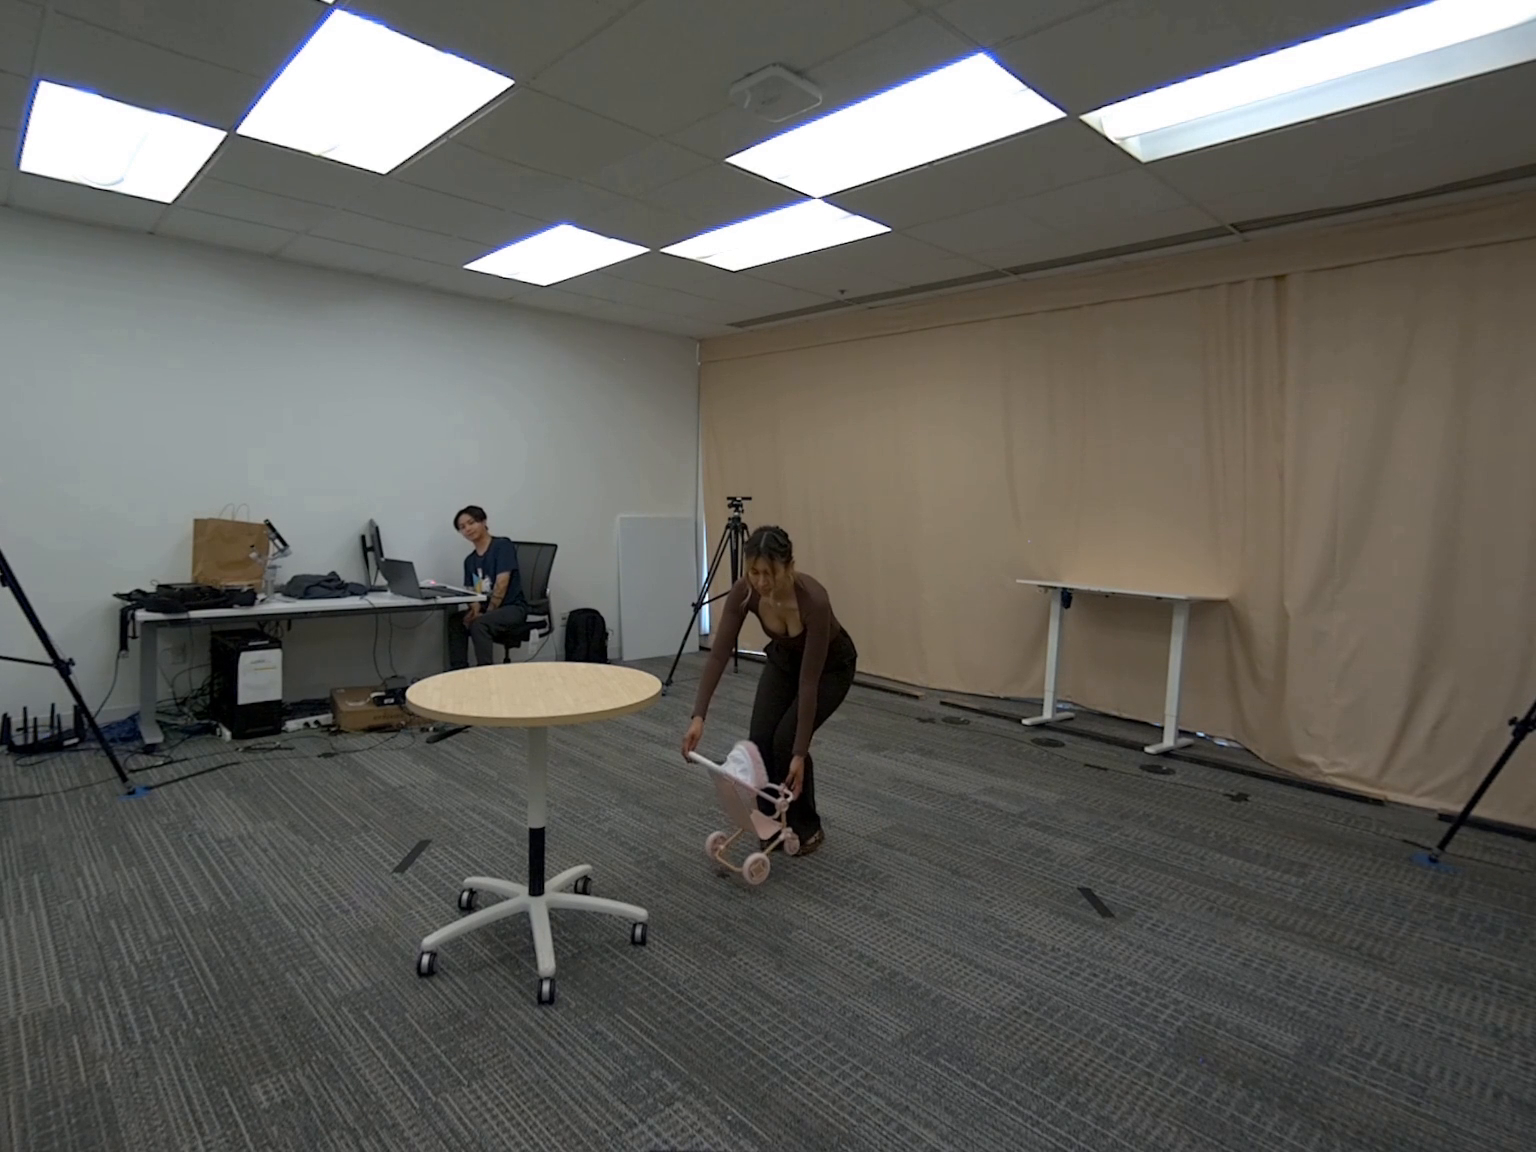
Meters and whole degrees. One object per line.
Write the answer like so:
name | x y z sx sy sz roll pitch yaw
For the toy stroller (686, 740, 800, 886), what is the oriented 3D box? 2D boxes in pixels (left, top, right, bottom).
toy stroller | -0.068 0.837 3.074 0.337 0.530 0.287 -18 11 -29
